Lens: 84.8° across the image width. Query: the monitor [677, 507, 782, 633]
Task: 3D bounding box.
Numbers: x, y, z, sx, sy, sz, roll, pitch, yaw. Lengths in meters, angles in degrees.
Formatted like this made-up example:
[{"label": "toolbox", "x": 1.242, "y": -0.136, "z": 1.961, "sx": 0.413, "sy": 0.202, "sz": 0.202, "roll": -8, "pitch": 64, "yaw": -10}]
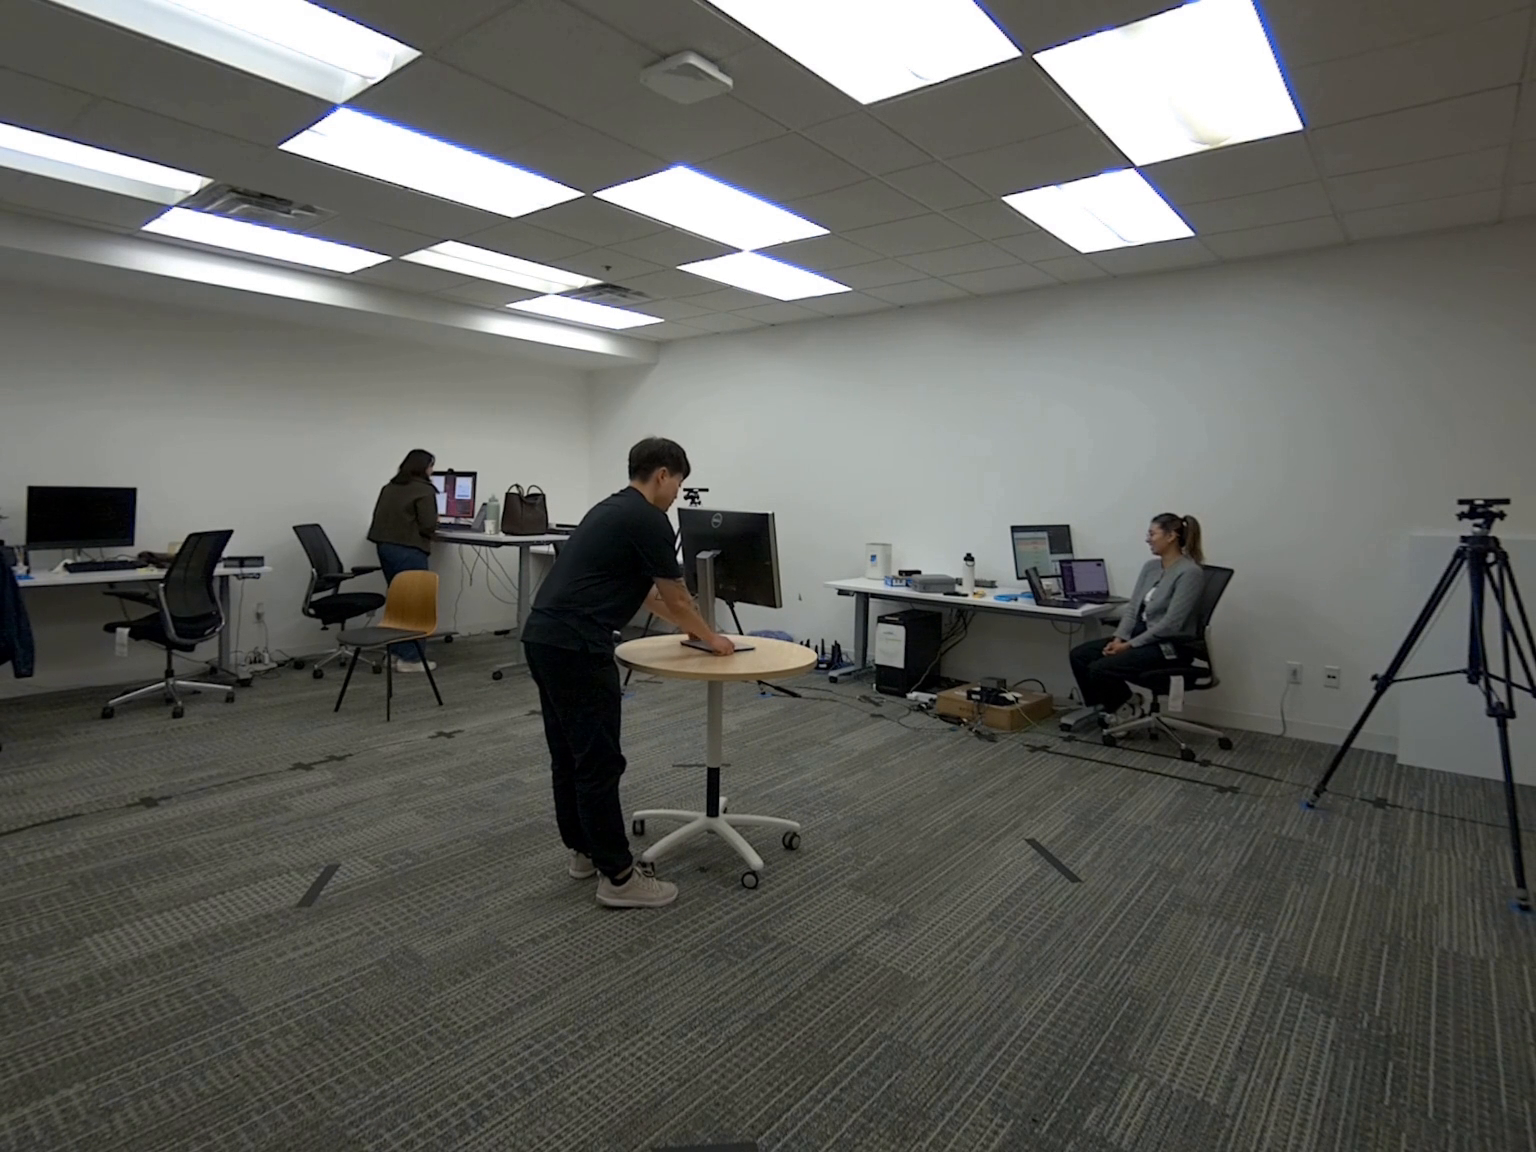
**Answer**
[{"label": "monitor", "x": -0.204, "y": 0.008, "z": 3.312, "sx": 0.181, "sy": 0.521, "sz": 0.558, "roll": 1, "pitch": 4, "yaw": -43}]
